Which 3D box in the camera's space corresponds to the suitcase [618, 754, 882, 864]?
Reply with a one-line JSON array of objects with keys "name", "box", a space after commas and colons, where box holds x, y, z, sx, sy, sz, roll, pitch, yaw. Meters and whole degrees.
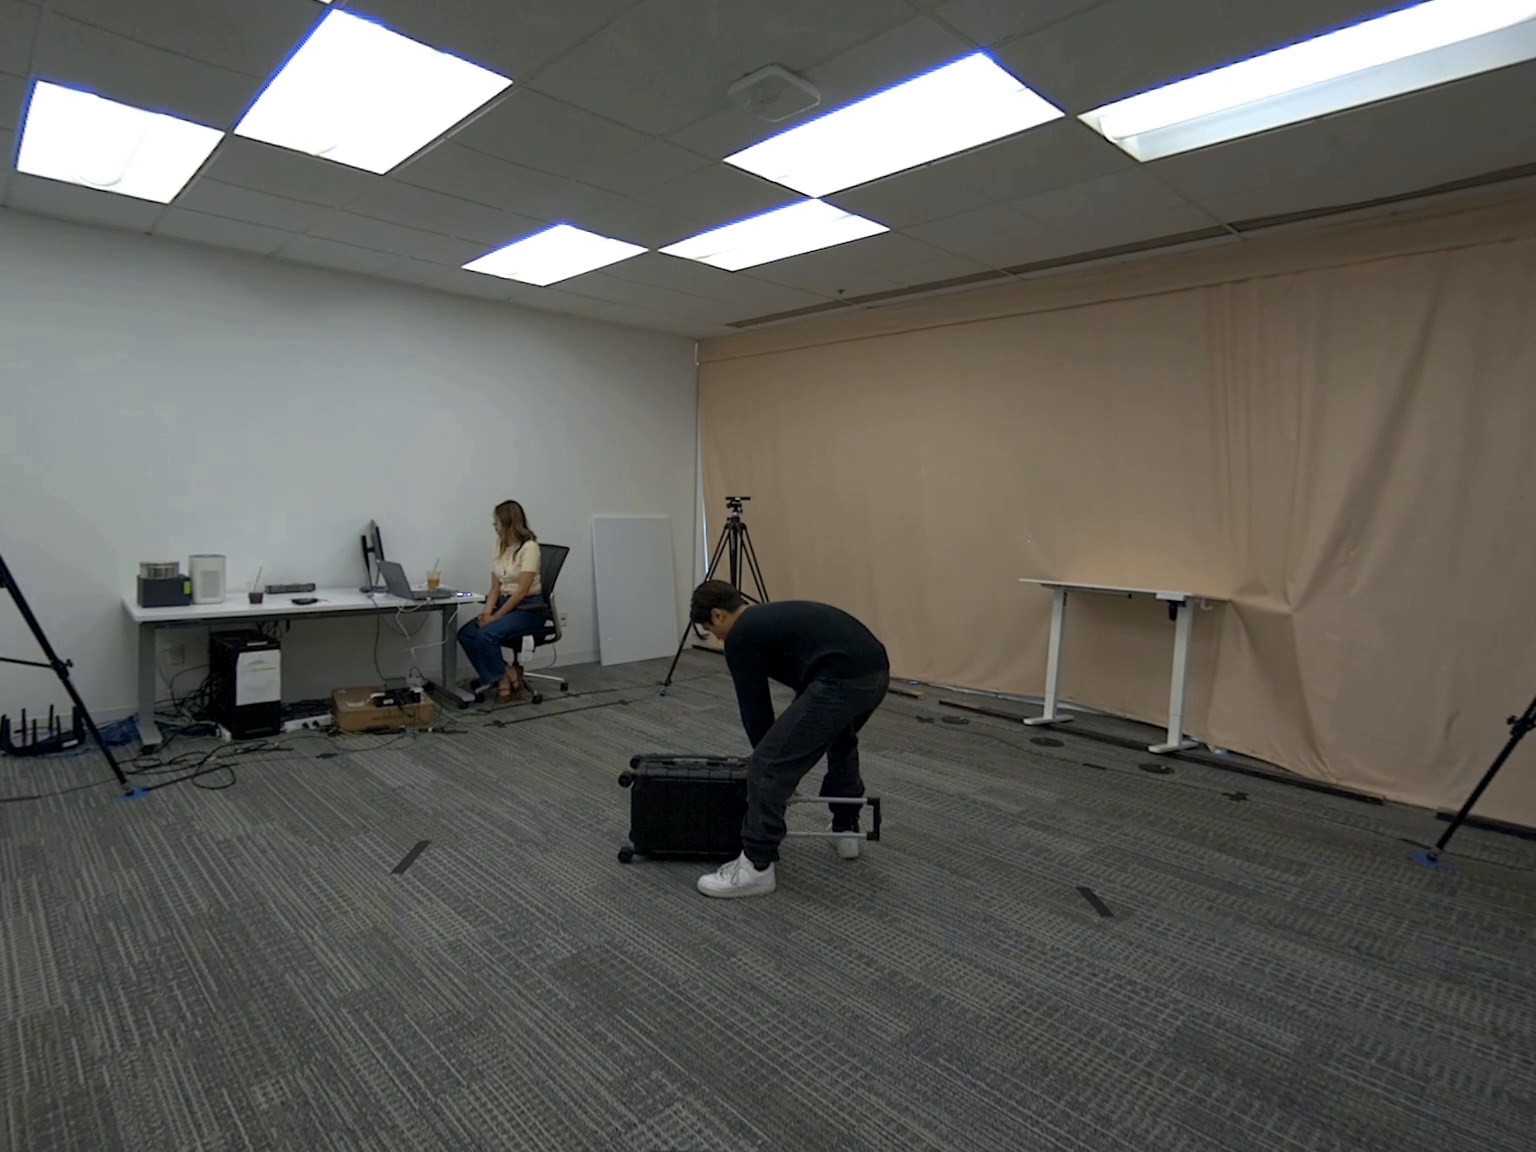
[{"name": "suitcase", "box": [-0.081, 0.887, 3.263, 0.981, 0.383, 0.257, -2, 3, 4]}]
